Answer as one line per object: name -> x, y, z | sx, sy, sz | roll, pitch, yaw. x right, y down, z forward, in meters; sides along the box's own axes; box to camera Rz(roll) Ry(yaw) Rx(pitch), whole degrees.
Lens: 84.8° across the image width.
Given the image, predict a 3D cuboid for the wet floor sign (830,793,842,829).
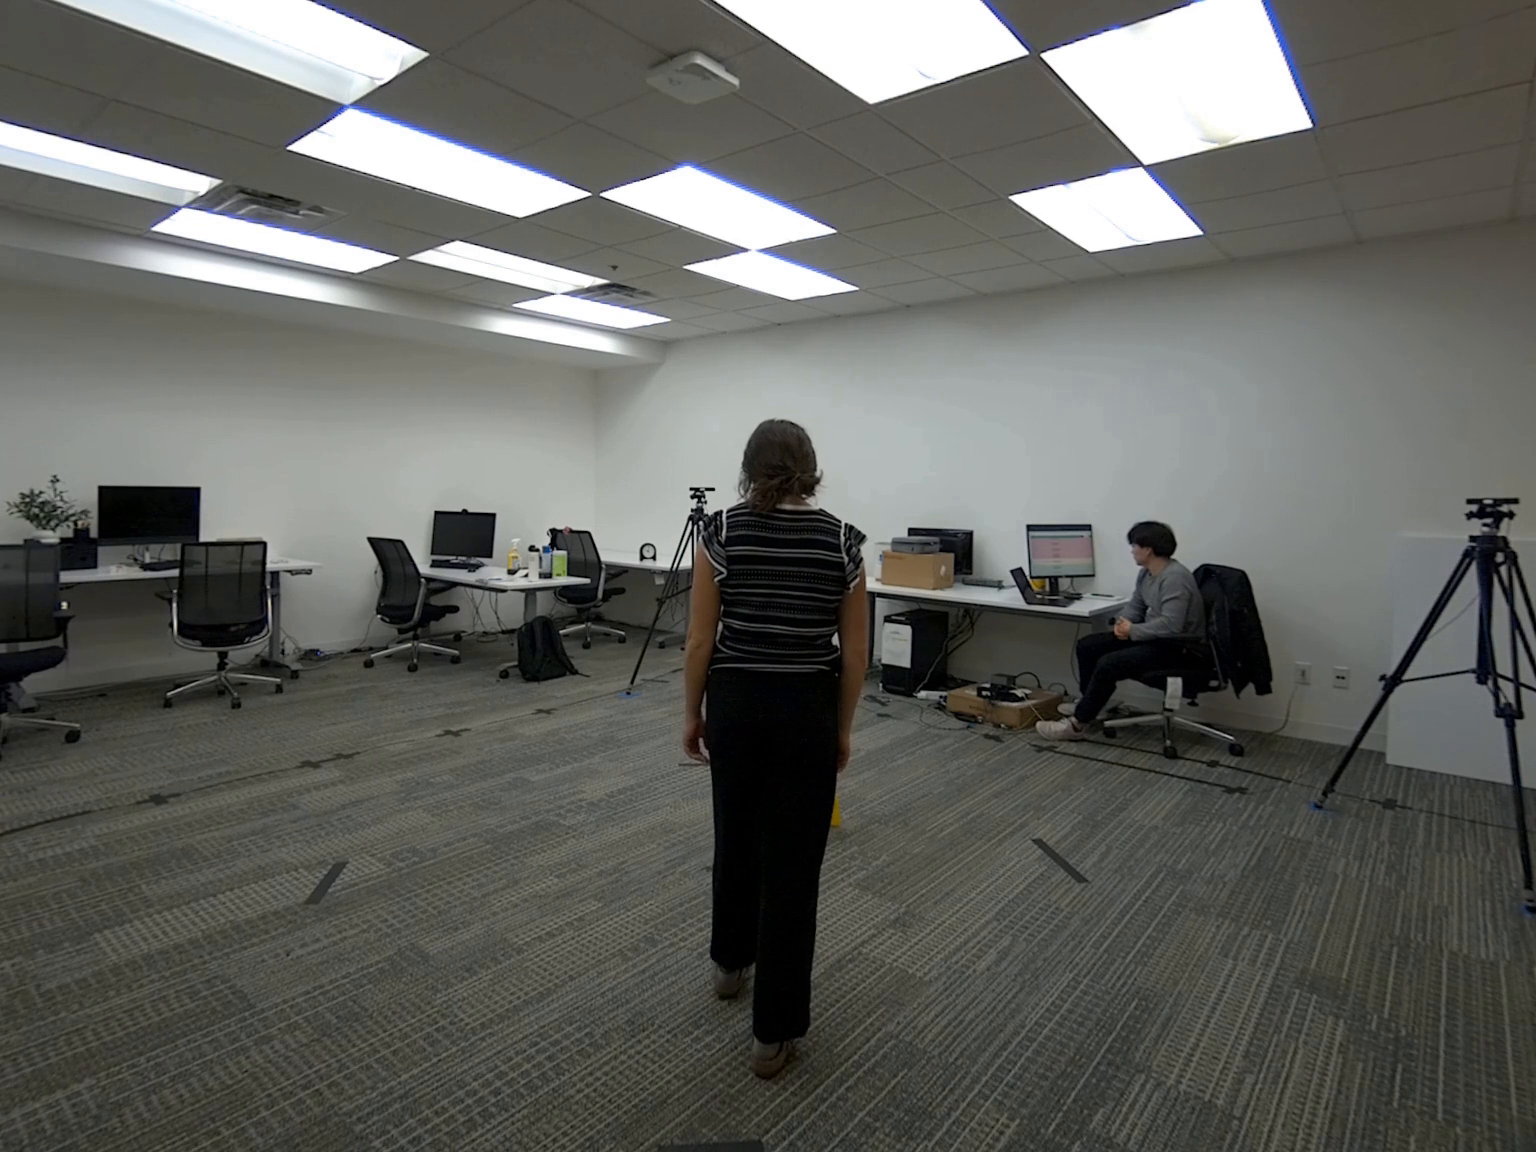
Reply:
wet floor sign -> 0.120, 0.703, 3.505 | 0.291, 0.644, 0.281 | 4, 3, 37
